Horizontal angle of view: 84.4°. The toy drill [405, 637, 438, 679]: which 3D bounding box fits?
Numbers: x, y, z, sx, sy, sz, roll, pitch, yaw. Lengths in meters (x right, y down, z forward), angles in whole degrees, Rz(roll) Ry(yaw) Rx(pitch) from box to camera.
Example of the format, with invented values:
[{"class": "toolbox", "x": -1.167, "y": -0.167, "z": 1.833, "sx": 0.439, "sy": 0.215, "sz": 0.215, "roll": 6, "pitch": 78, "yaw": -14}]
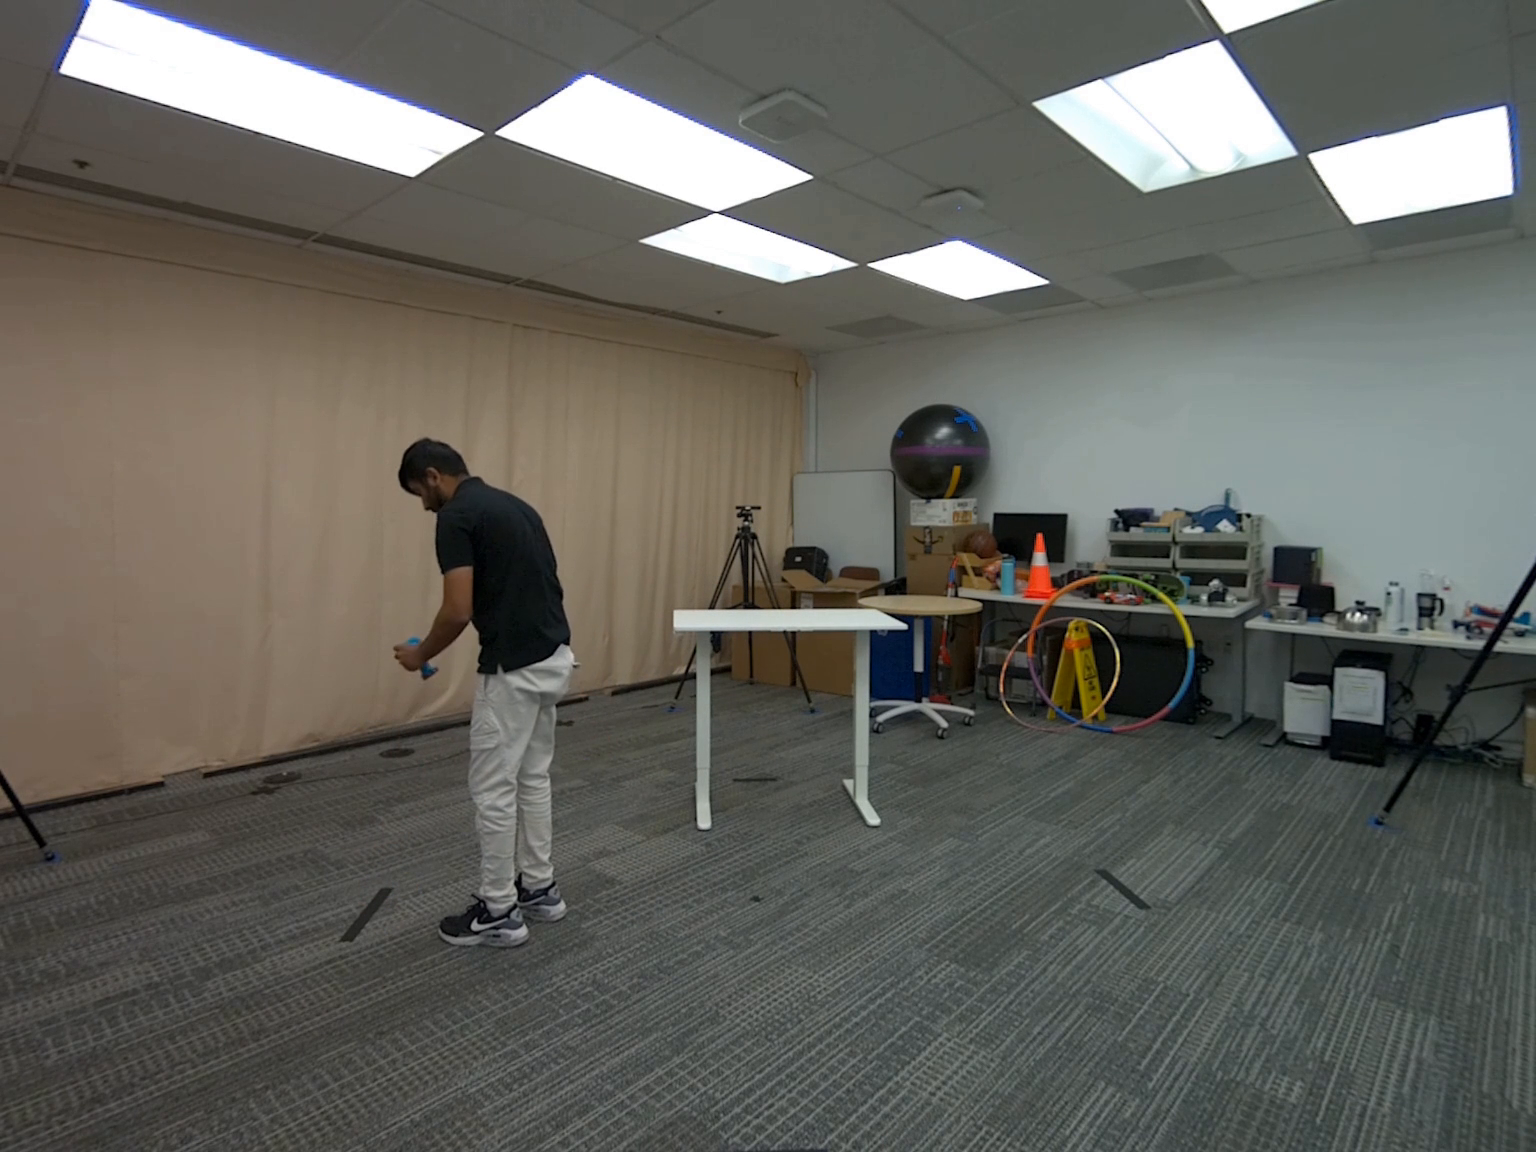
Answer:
[{"class": "toy drill", "x": -1.167, "y": 0.282, "z": 2.822, "sx": 0.061, "sy": 0.145, "sz": 0.170, "roll": -37, "pitch": 6, "yaw": 1}]
